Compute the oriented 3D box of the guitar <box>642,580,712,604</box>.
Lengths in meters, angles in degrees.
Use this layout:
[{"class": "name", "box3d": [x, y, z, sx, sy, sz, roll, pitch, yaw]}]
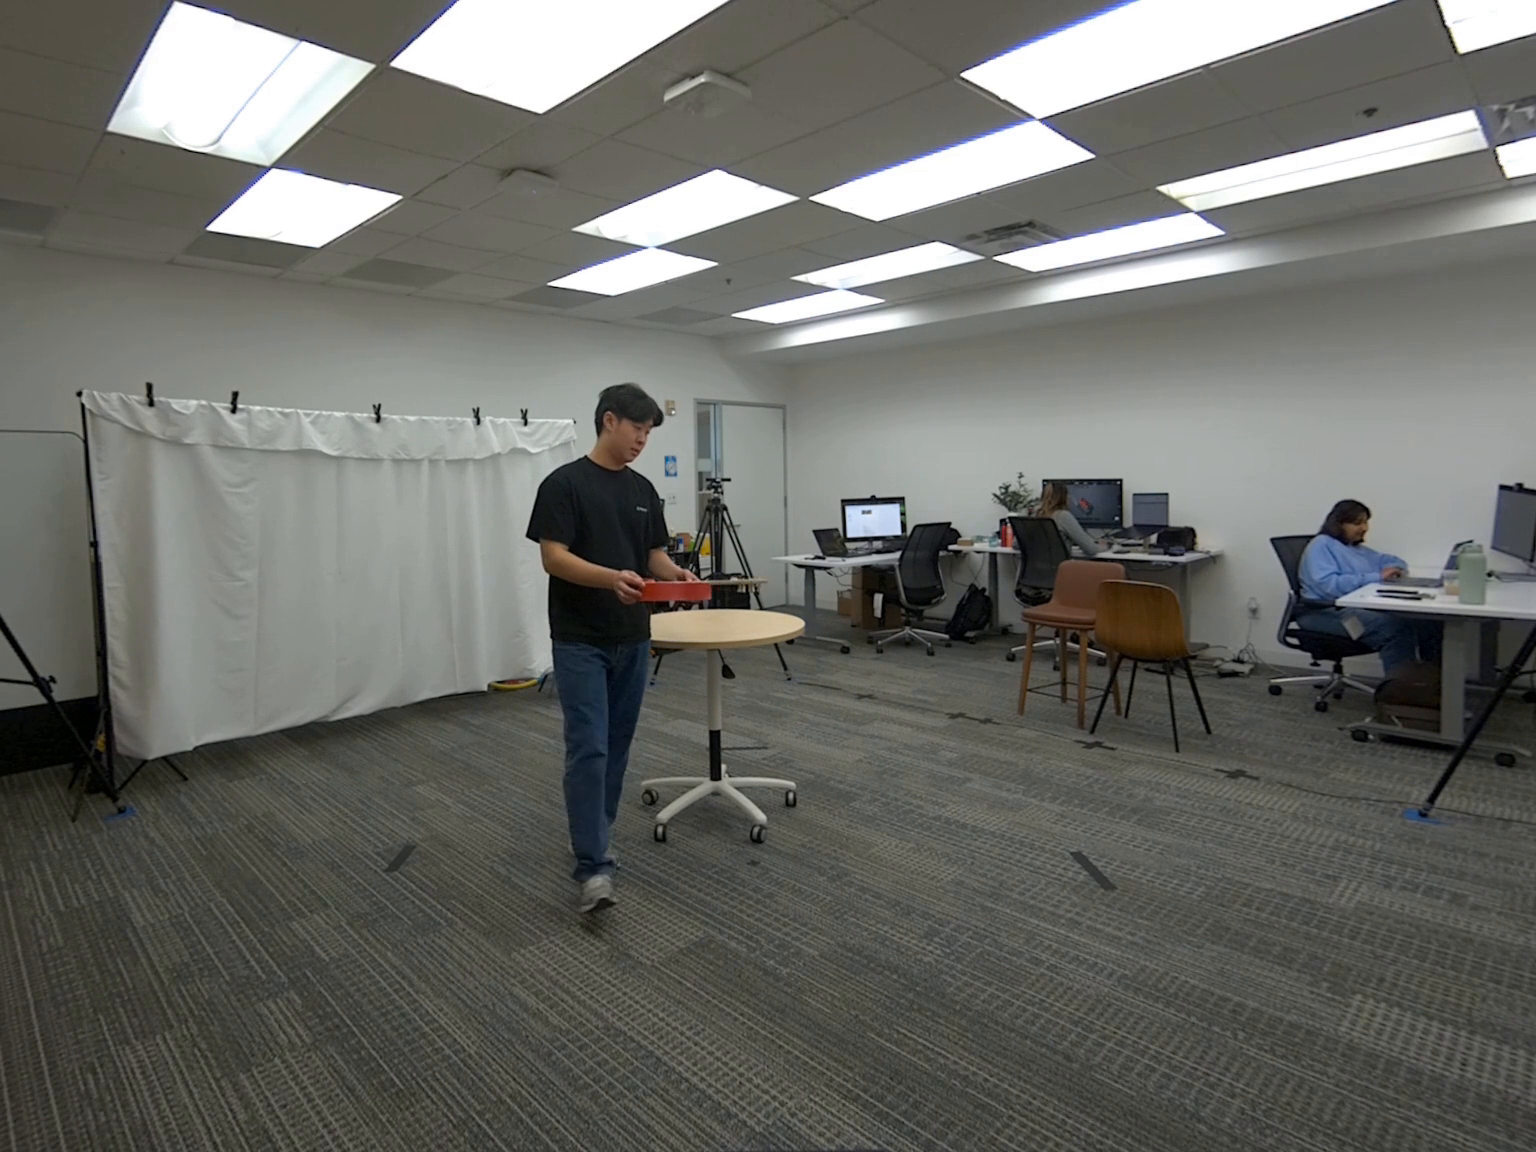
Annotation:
[{"class": "guitar", "box3d": [-0.210, 0.047, 2.887, 0.488, 0.071, 0.196, -1, 0, -20]}]
